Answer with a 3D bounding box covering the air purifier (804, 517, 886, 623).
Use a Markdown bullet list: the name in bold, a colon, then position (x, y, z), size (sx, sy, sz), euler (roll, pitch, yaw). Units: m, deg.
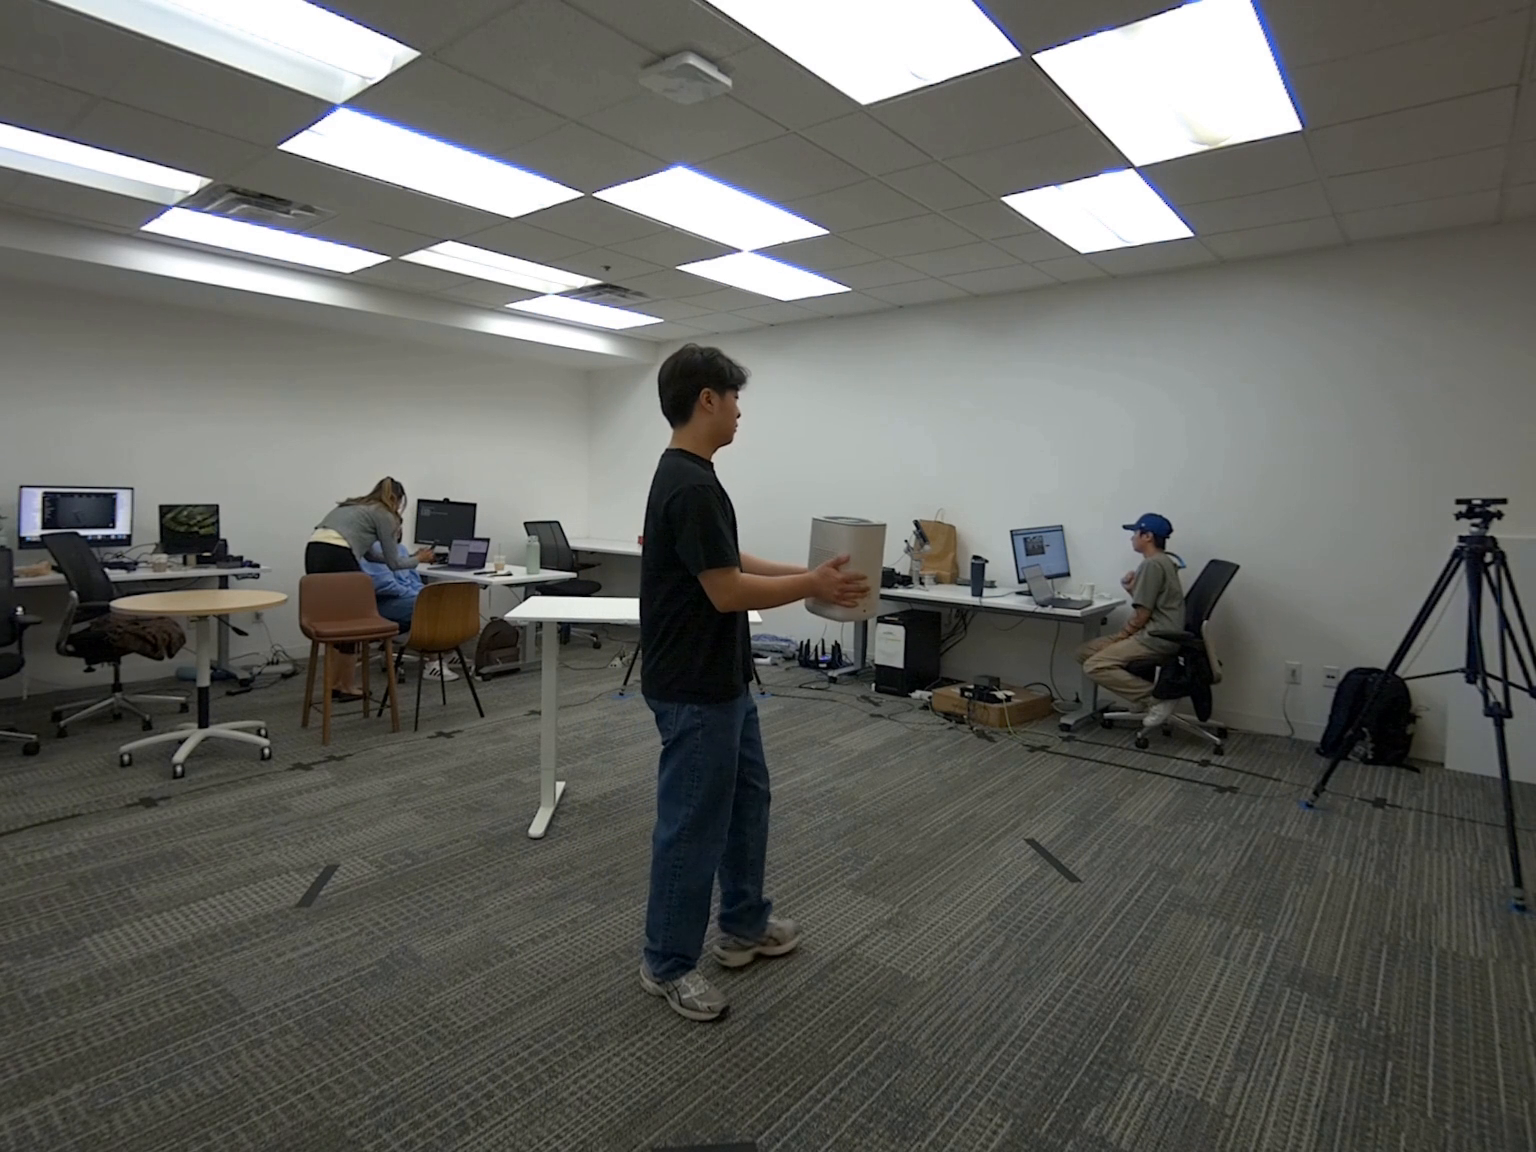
- **air purifier**: position (0.201, -0.020, 2.289), size (0.166, 0.263, 0.178), euler (-2, 11, -40)
